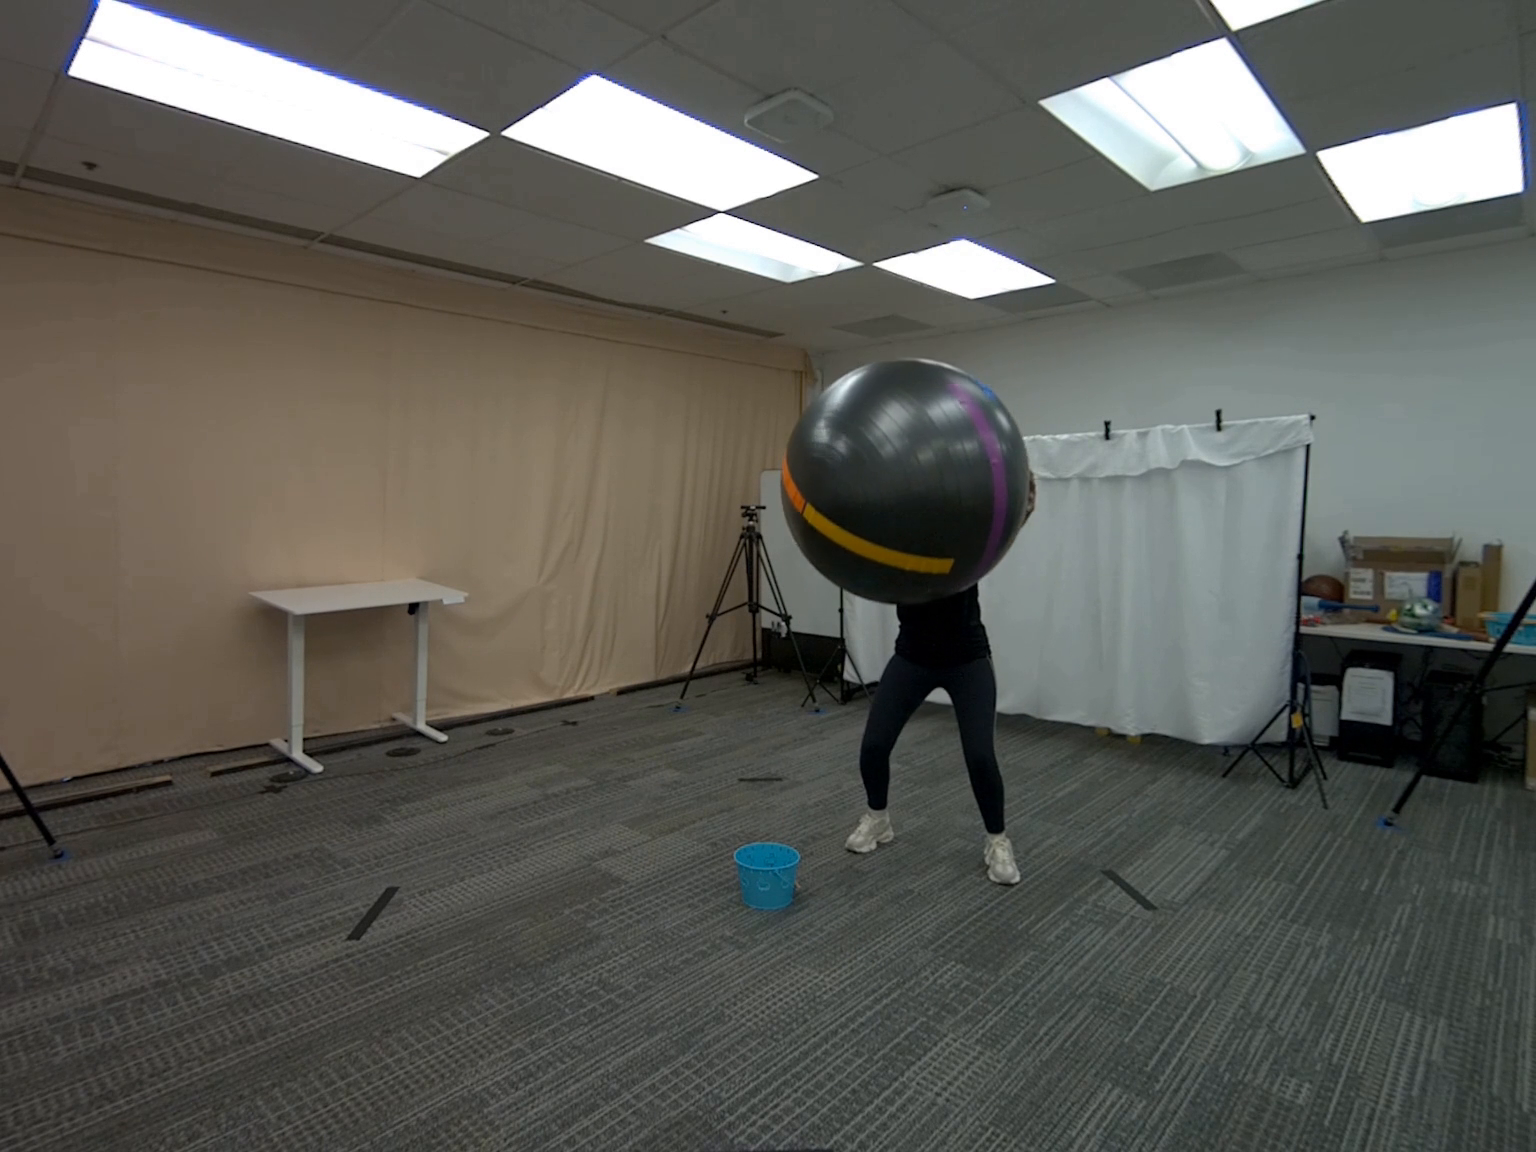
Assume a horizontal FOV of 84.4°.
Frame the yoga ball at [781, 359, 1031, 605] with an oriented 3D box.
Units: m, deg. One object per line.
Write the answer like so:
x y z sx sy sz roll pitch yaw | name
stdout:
0.427 -0.279 2.628 0.757 0.756 0.760 0 4 -2 | yoga ball
